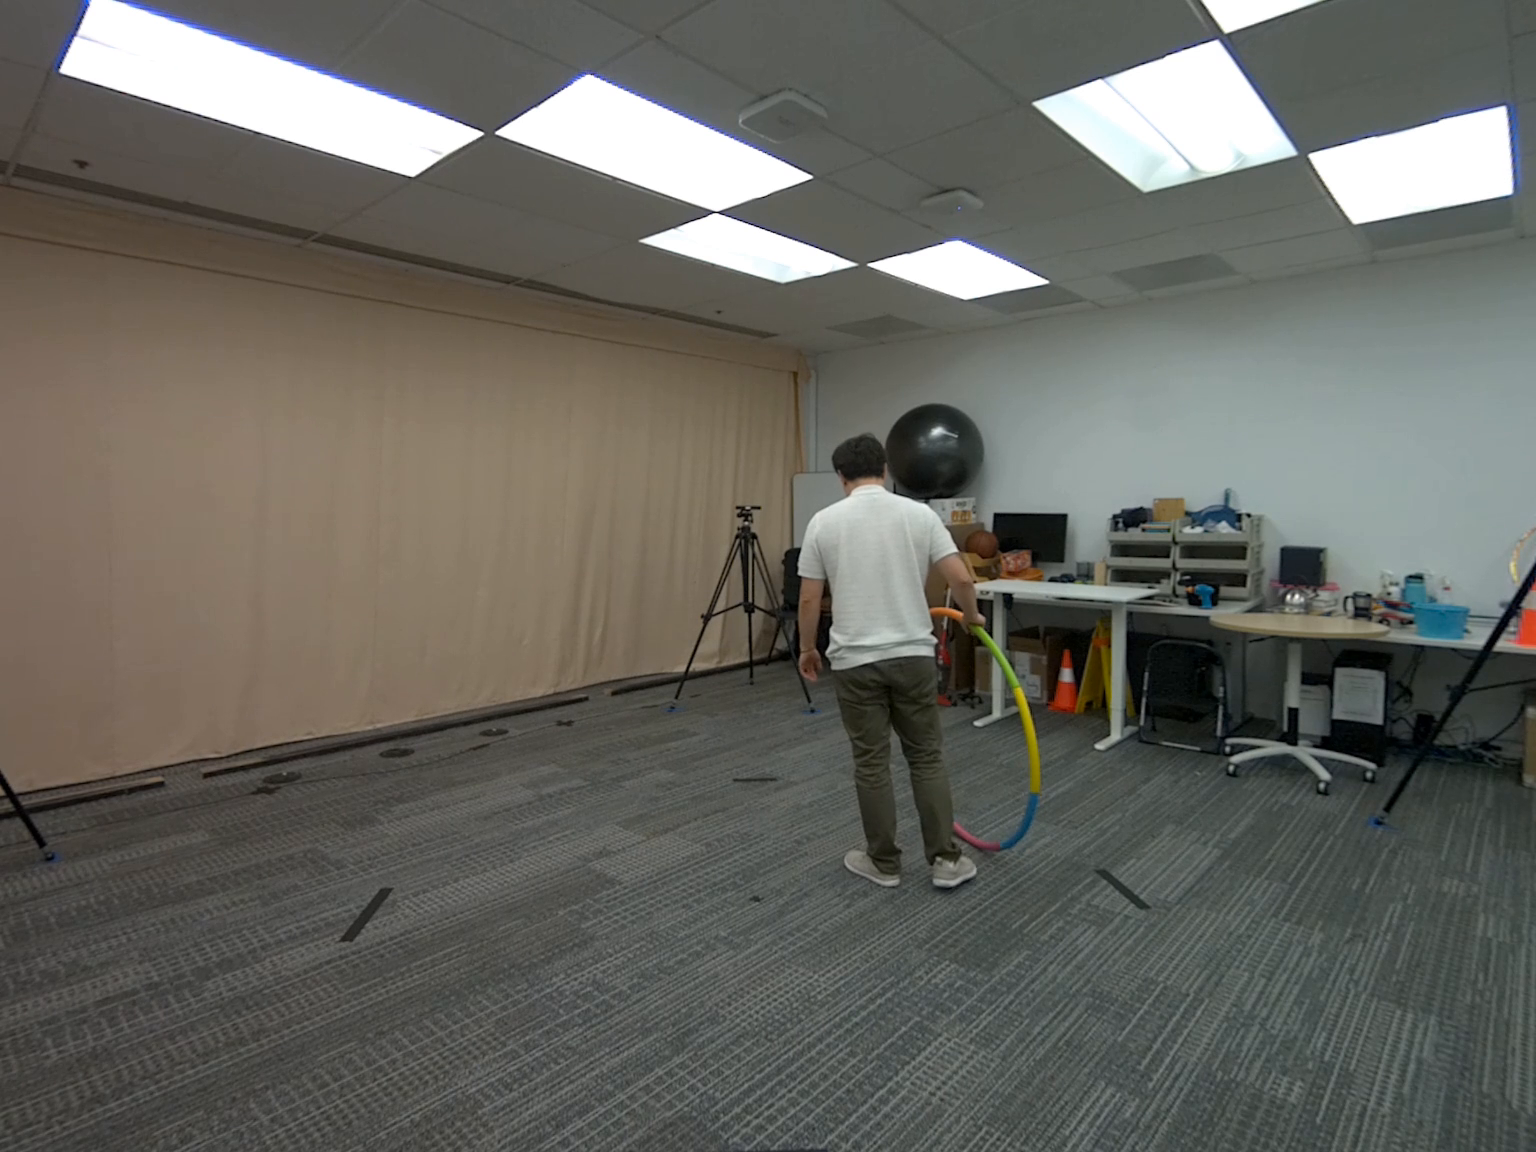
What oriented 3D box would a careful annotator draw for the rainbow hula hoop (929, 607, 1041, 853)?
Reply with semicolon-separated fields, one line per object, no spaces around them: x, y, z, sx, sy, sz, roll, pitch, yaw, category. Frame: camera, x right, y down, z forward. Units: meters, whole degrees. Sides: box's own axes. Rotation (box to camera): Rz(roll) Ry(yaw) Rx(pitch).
0.775;0.619;3.446;0.035;0.974;0.999;-9;6;-19;rainbow hula hoop
